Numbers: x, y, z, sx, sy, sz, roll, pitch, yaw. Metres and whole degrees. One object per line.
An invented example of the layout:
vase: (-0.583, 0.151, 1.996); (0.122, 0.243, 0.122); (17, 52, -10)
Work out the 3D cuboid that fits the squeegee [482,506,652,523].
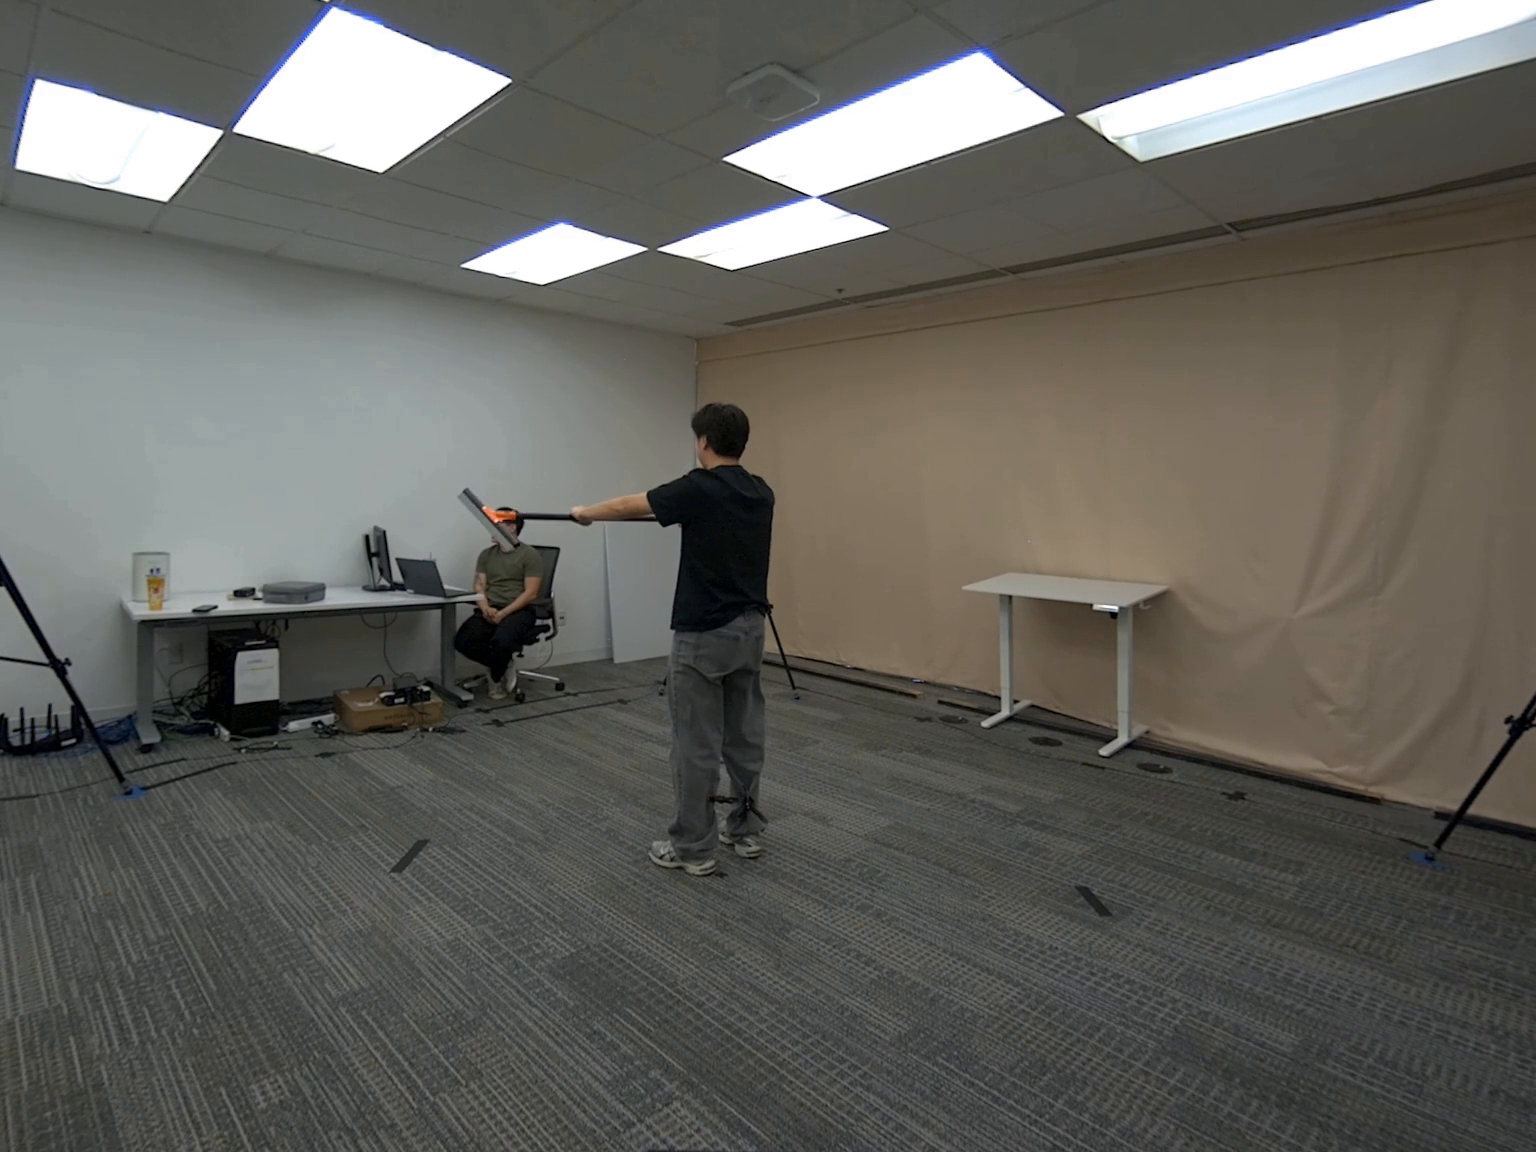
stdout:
squeegee: (-0.531, -0.244, 3.663); (1.502, 0.052, 0.451); (-3, 33, -46)
